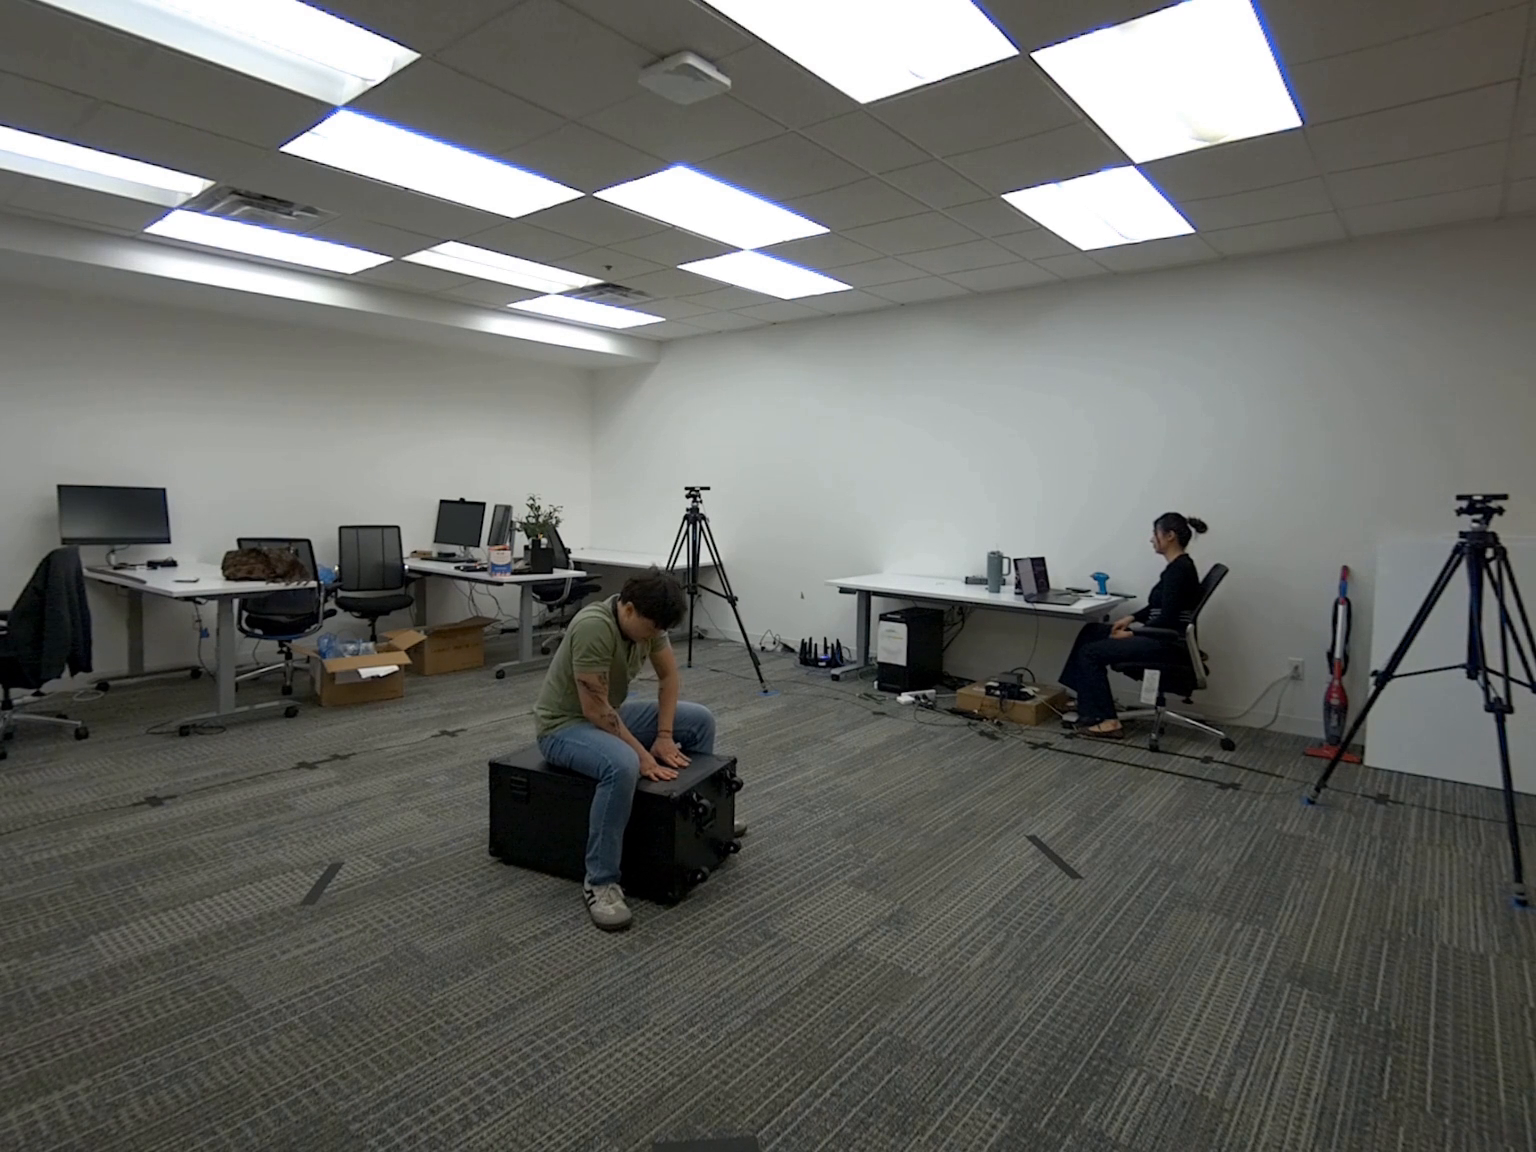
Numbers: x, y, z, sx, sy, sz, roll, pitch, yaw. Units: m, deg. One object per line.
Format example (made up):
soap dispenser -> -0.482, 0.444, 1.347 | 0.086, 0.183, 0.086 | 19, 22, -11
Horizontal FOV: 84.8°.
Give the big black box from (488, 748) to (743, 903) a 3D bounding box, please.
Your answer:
big black box -> -0.559, 0.867, 3.153 | 0.883, 0.395, 0.510 | 2, 4, 24
